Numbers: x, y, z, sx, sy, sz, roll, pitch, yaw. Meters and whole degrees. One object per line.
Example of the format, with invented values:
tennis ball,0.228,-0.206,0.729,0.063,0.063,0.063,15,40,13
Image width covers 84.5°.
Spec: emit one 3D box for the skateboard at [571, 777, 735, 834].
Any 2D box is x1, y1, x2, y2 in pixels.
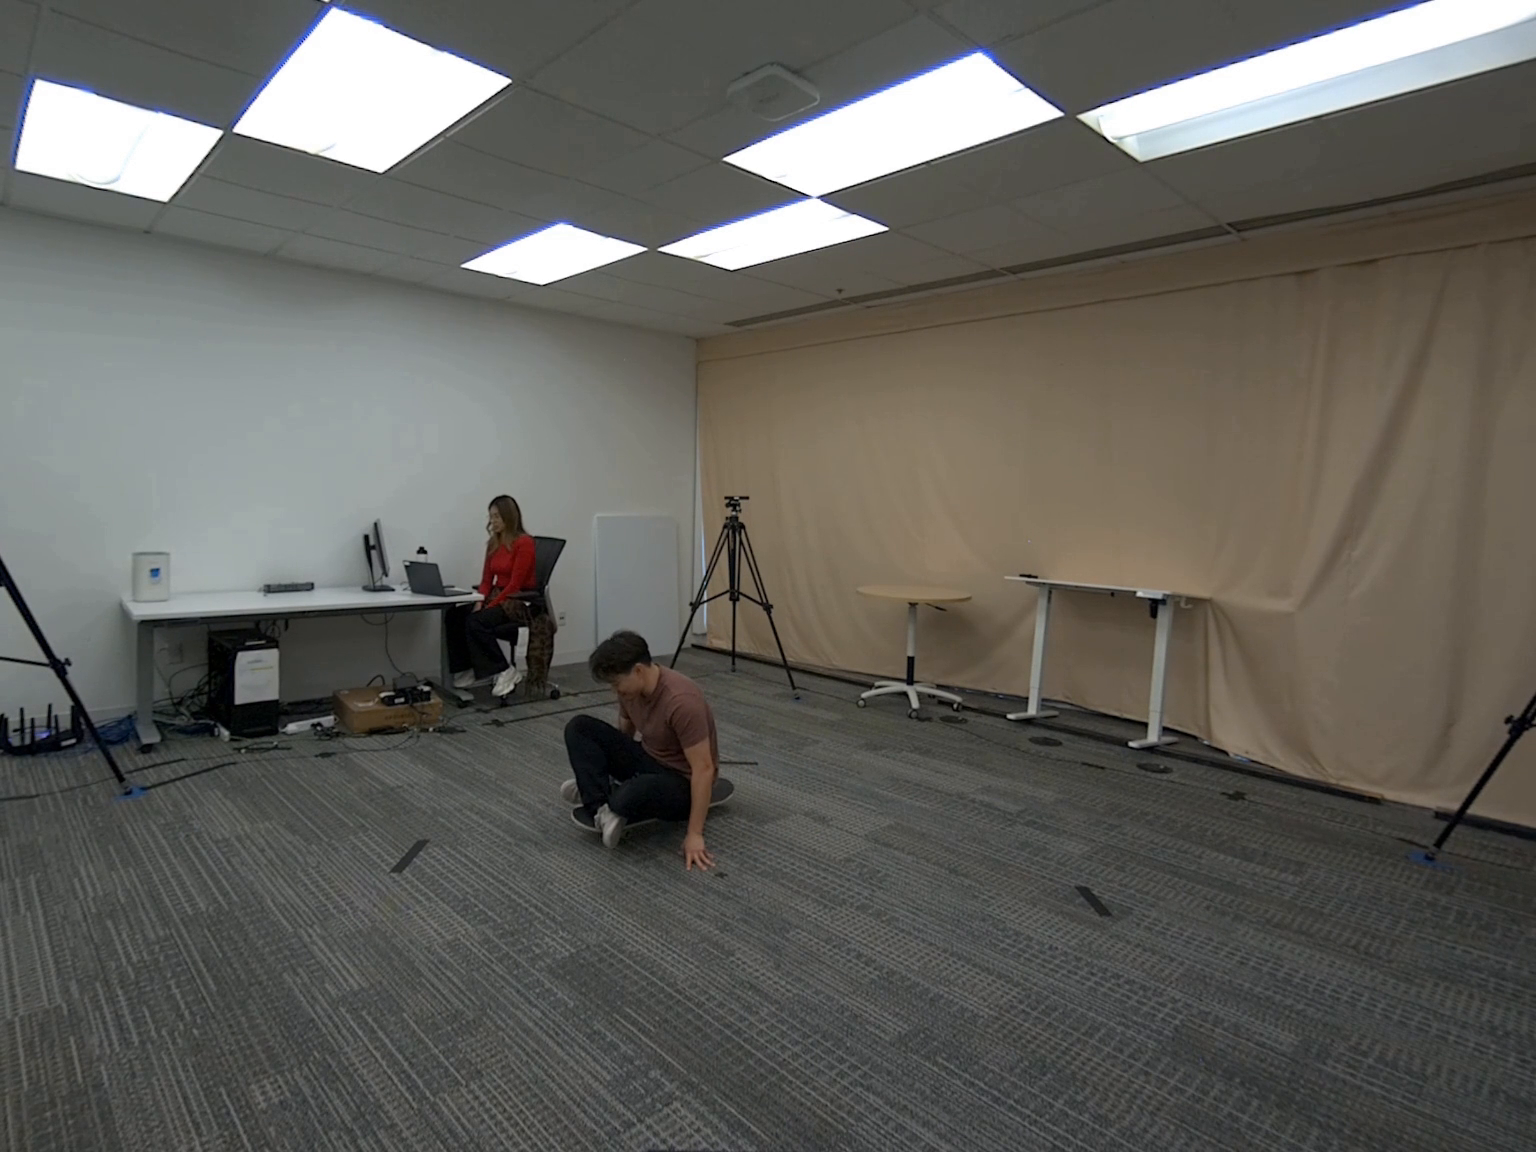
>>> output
skateboard,-0.489,1.005,3.593,0.767,0.109,0.199,-1,16,-38
